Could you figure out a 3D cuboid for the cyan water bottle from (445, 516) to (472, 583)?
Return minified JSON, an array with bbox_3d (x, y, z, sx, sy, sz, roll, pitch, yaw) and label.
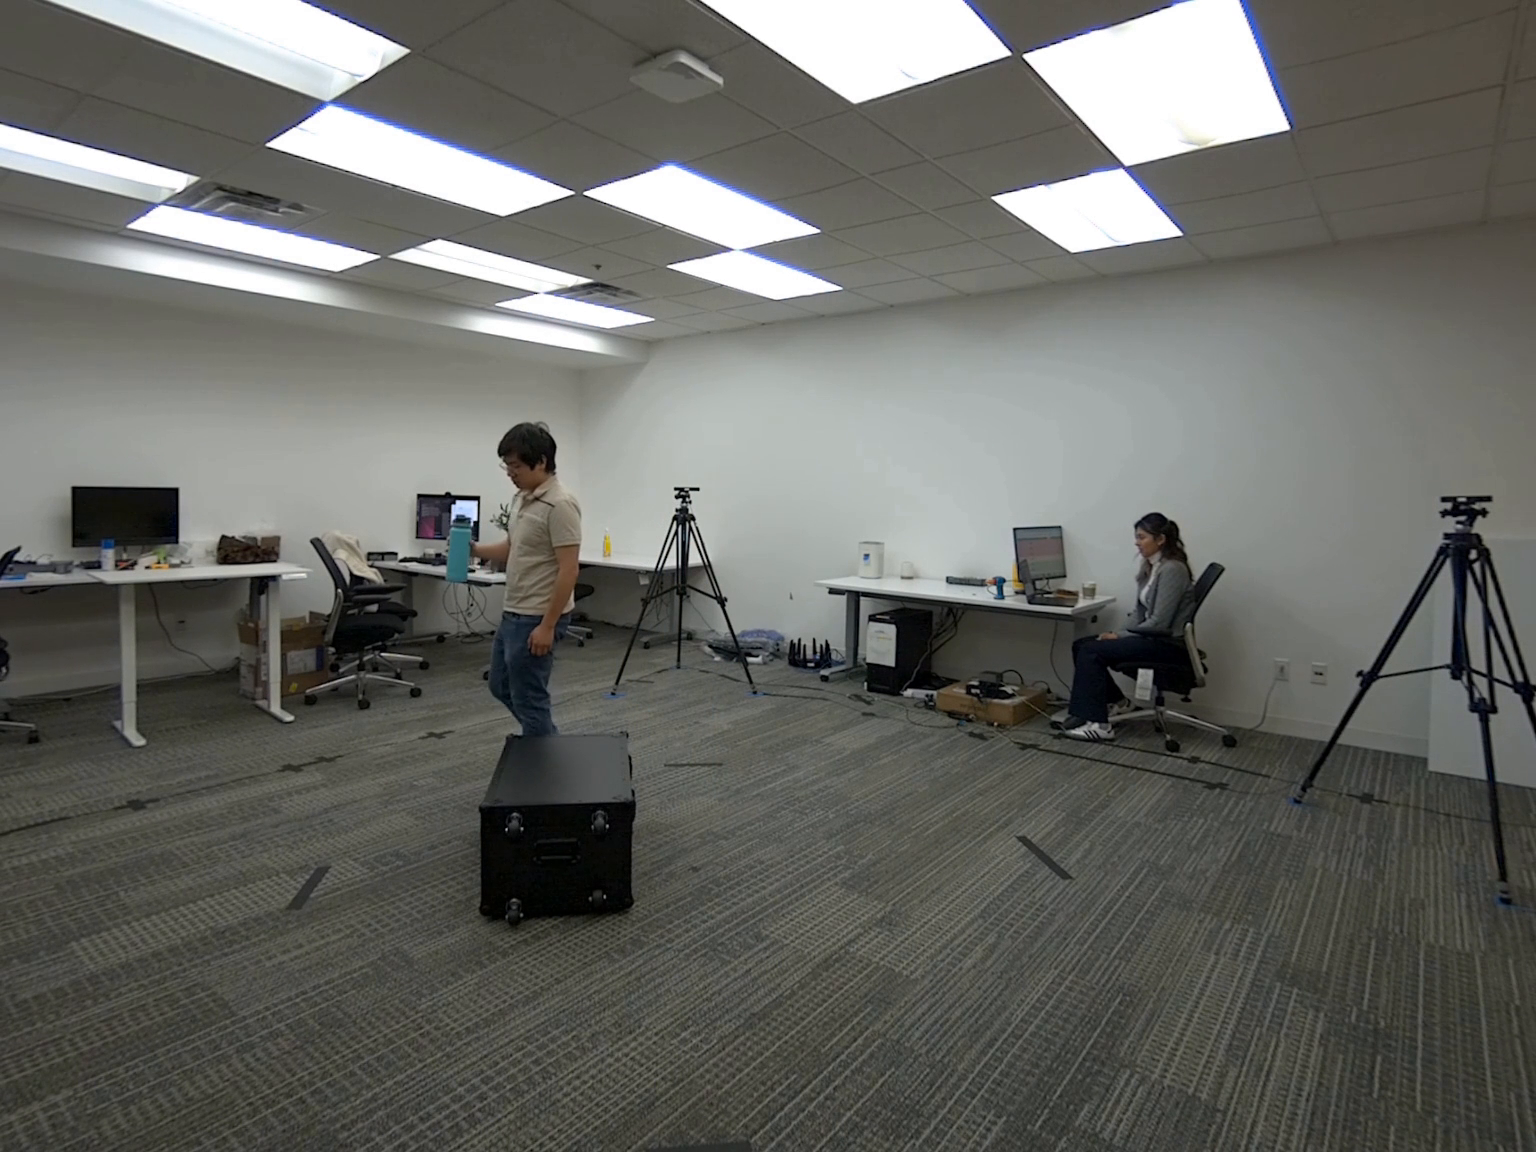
[{"bbox_3d":[-1.335,-0.122,3.631,0.092,0.283,0.092,6,0,-2],"label":"cyan water bottle"}]
